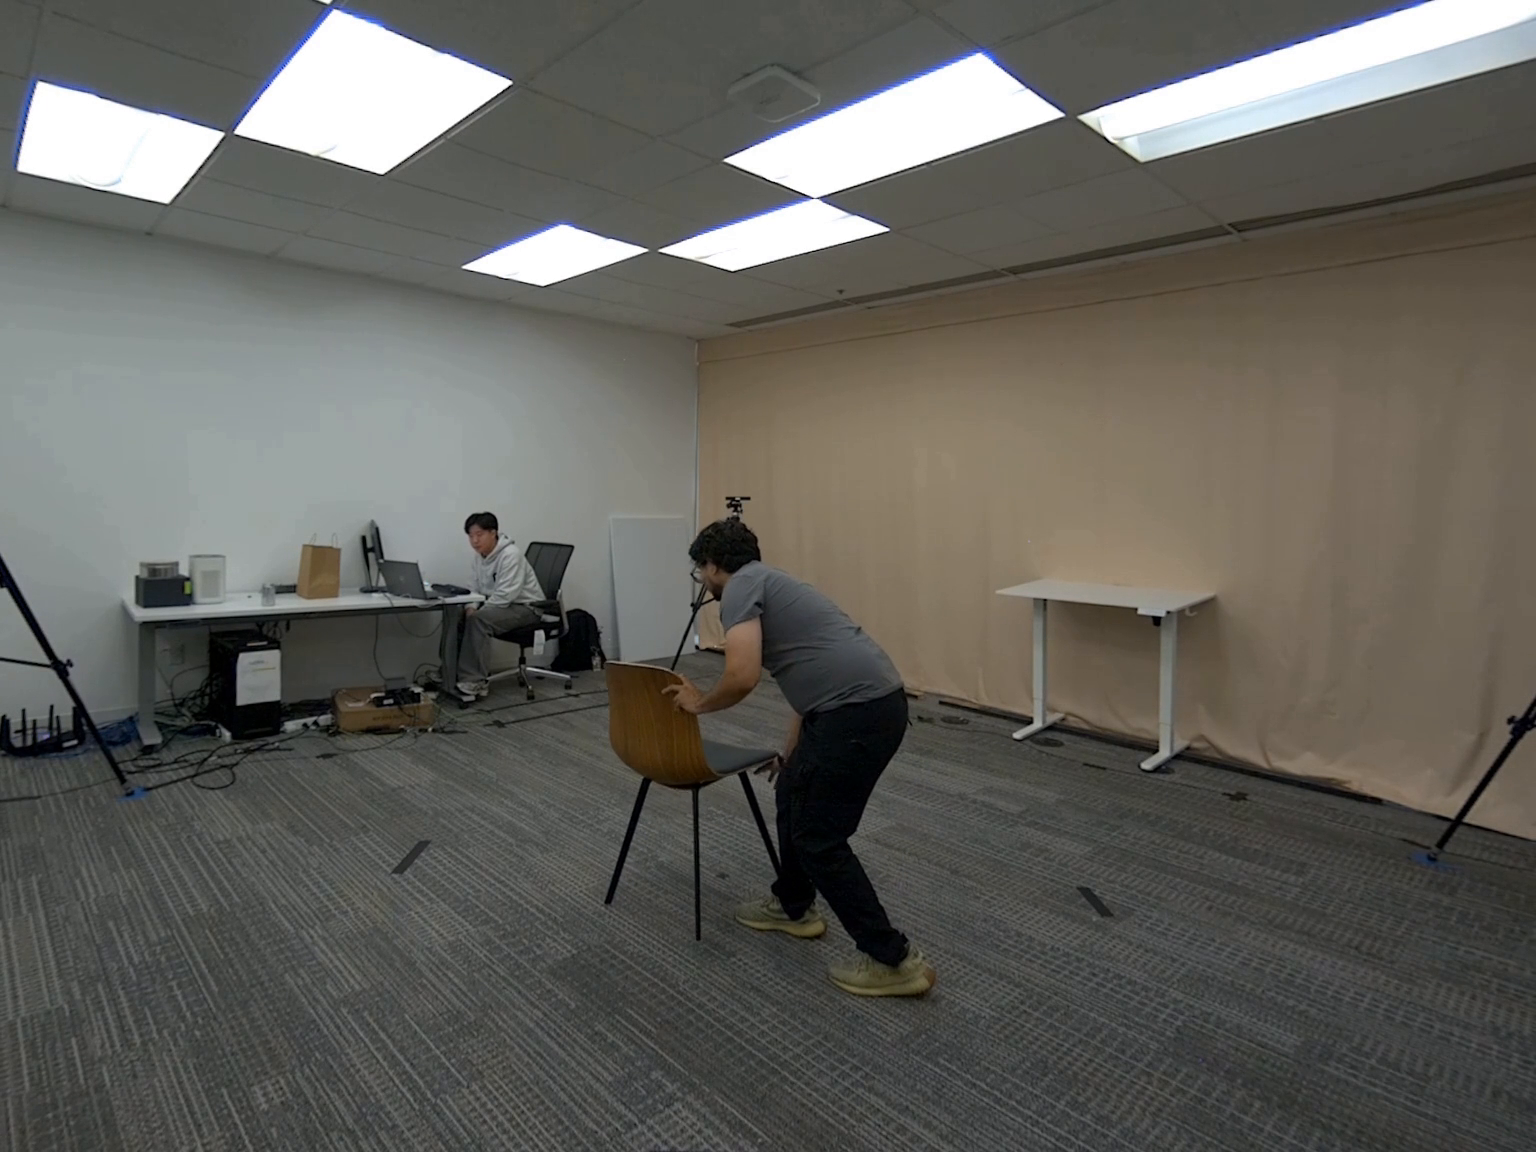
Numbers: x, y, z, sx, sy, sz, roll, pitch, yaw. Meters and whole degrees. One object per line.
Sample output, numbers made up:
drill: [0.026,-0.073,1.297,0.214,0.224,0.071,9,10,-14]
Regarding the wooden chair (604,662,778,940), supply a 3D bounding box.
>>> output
wooden chair: [-0.258,0.679,2.889,0.489,0.875,0.513,-2,4,41]
